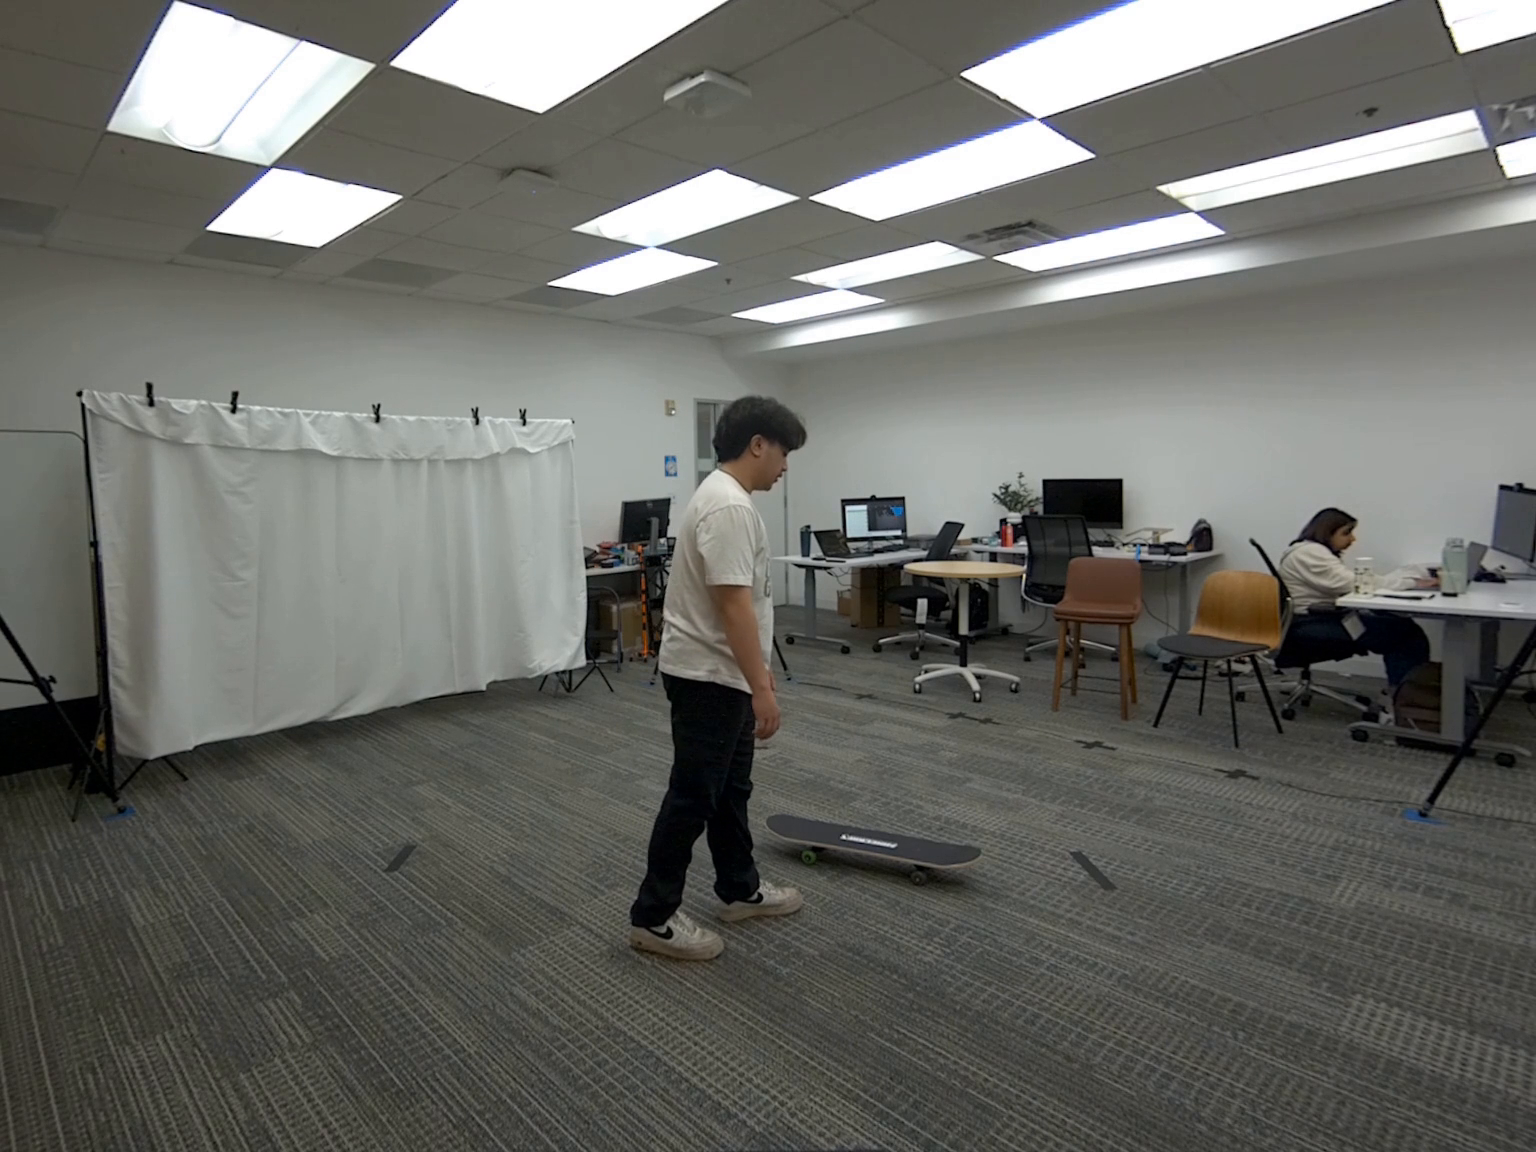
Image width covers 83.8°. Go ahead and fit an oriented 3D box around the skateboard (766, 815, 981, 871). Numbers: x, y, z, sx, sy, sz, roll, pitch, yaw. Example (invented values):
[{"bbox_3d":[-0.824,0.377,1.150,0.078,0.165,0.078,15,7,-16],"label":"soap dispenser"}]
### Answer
[{"bbox_3d":[0.359,0.980,3.069,0.804,0.110,0.190,2,6,26],"label":"skateboard"}]
